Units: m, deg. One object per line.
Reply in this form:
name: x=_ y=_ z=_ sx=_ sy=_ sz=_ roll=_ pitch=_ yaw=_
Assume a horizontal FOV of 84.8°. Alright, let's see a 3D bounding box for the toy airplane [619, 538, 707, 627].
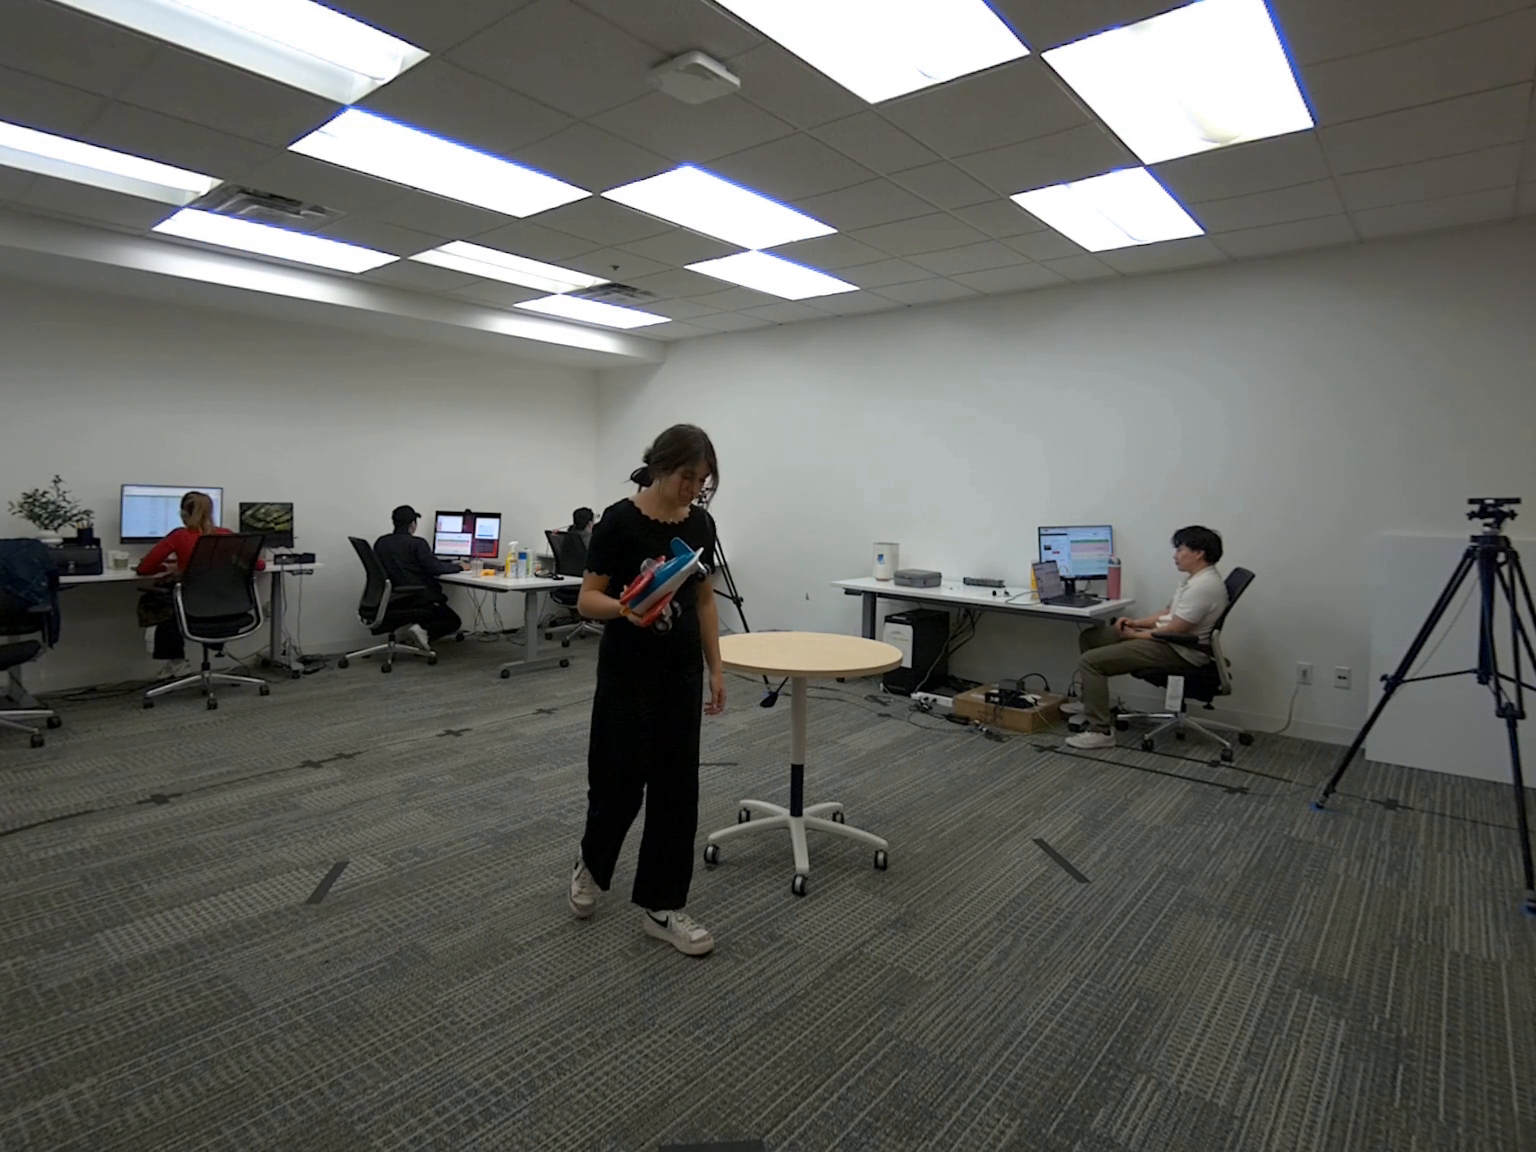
toy airplane: x=-0.277 y=0.015 z=2.286 sx=0.156 sy=0.259 sz=0.252 roll=35 pitch=-3 yaw=-3
